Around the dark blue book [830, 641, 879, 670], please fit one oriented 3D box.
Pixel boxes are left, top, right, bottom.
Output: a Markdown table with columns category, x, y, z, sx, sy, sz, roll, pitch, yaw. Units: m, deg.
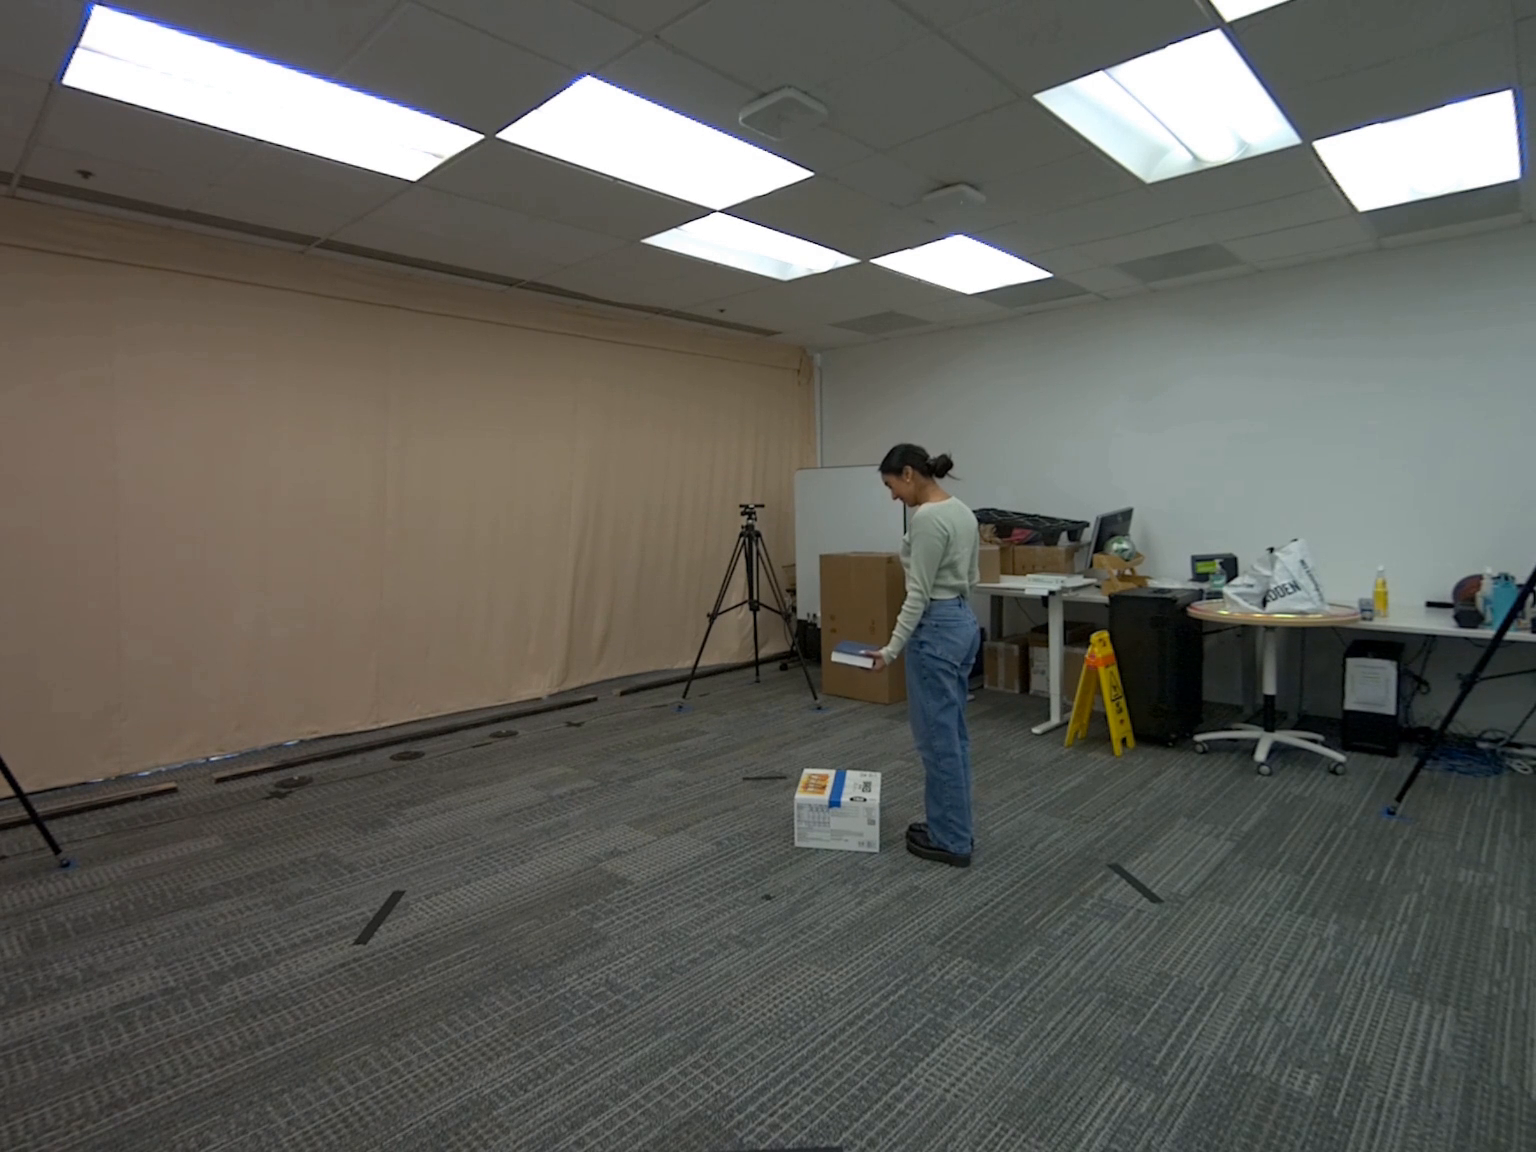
| category | x | y | z | sx | sy | sz | roll | pitch | yaw |
| --- | --- | --- | --- | --- | --- | --- | --- | --- | --- |
| dark blue book | 0.359 | 0.306 | 3.270 | 0.166 | 0.045 | 0.242 | 8 | 8 | 11 |
